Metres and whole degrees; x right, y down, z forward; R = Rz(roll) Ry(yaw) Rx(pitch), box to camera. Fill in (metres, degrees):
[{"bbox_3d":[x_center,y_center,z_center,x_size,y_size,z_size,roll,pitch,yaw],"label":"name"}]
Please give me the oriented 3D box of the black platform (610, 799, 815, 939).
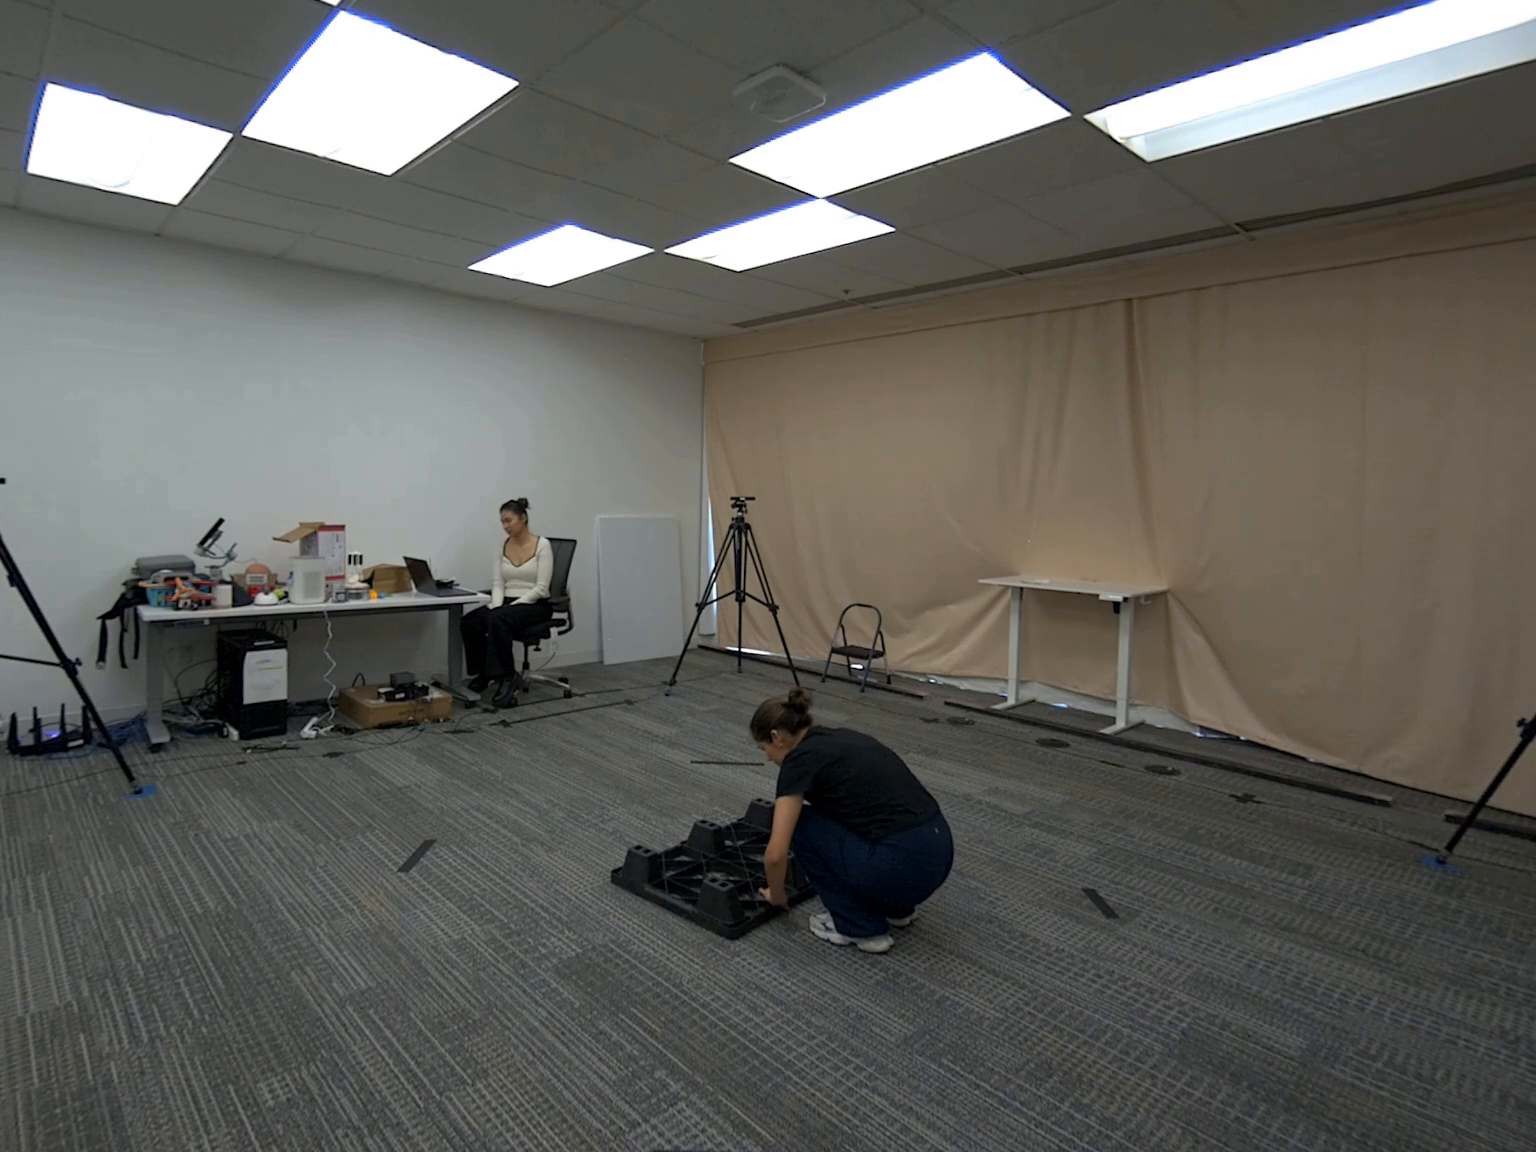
[{"bbox_3d":[-0.093,1.039,3.112,0.620,0.143,0.788,4,6,40],"label":"black platform"}]
